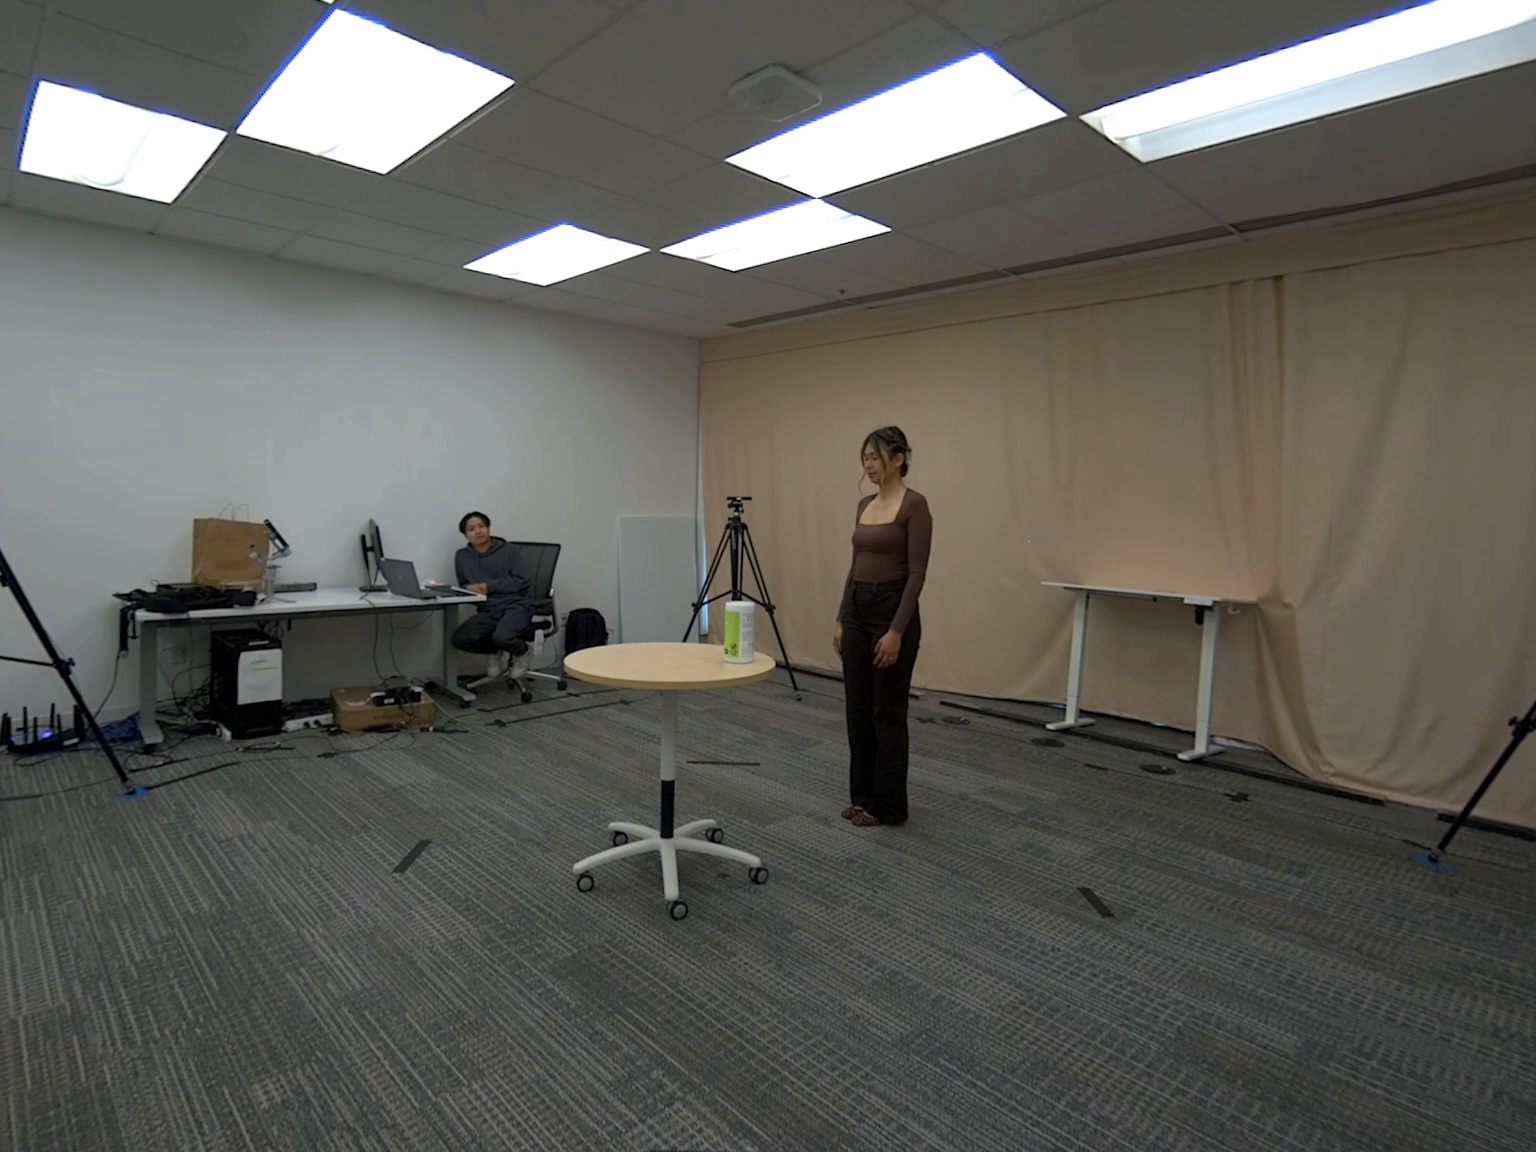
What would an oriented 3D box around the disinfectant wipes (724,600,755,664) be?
[{"bbox_3d":[-0.106,0.208,3.065,0.118,0.217,0.118,1,3,-1],"label":"disinfectant wipes"}]
